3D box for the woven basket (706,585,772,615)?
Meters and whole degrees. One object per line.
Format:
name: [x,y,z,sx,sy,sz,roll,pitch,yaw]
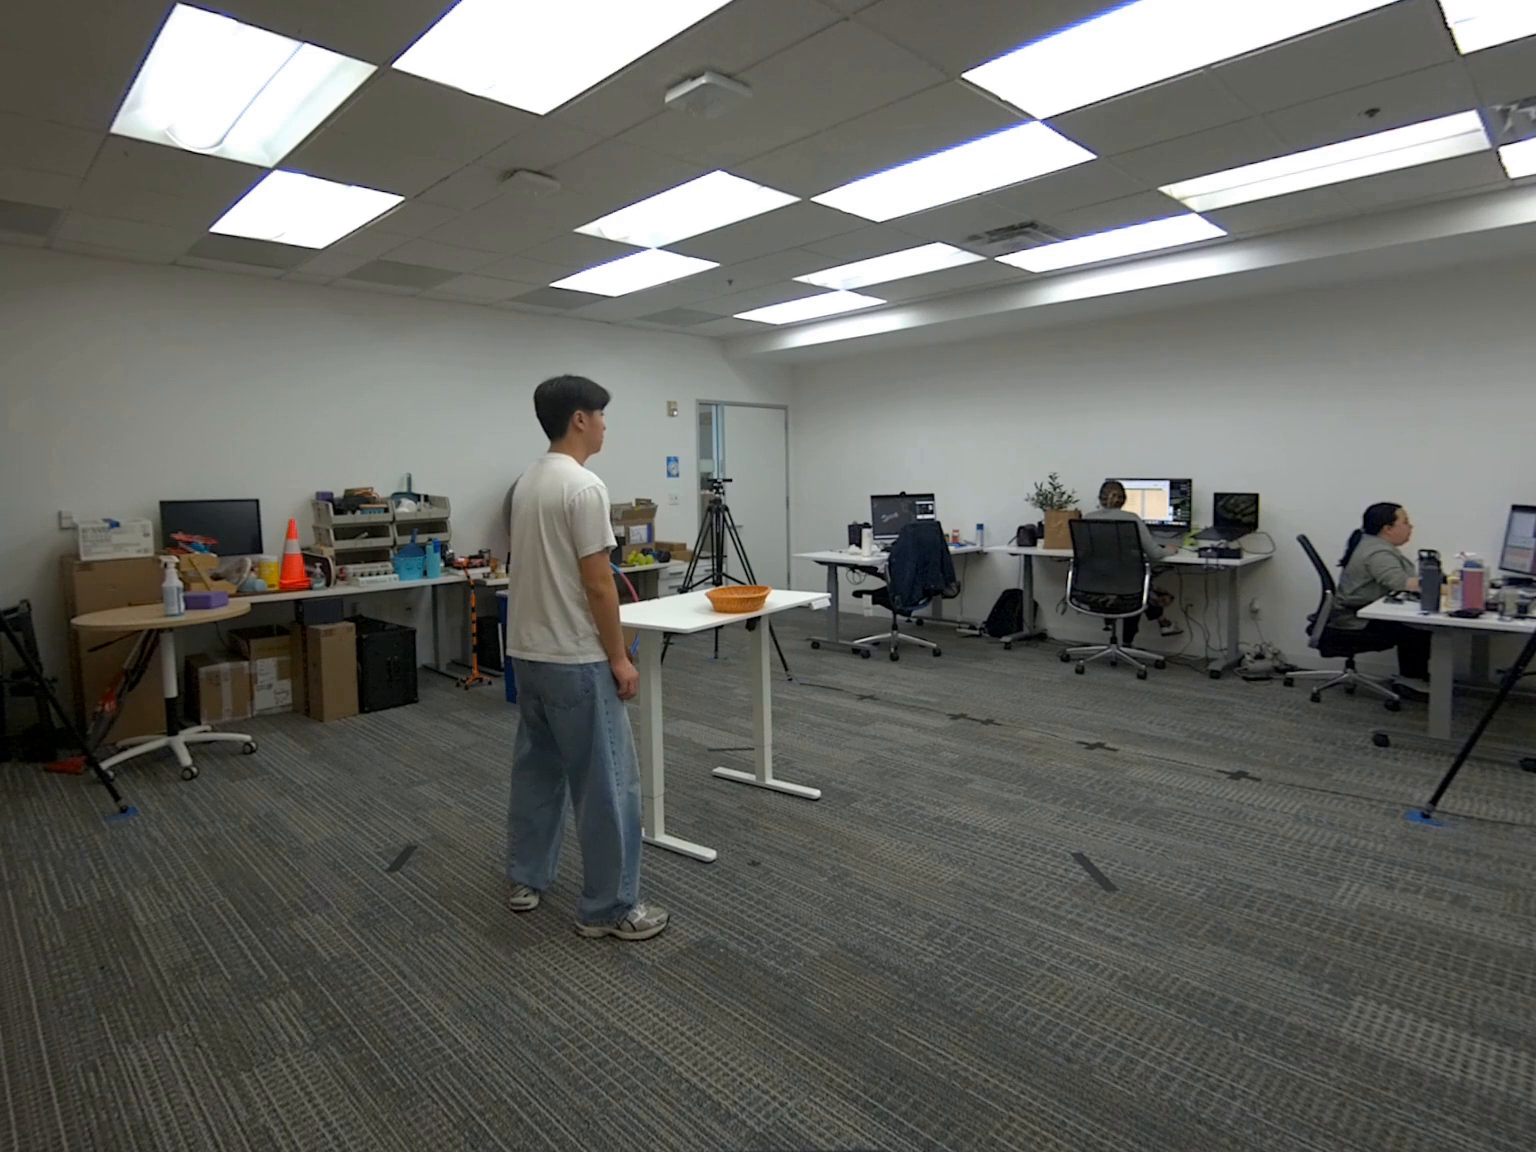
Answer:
woven basket: [-0.113,0.099,3.422,0.257,0.073,0.346,0,7,17]
